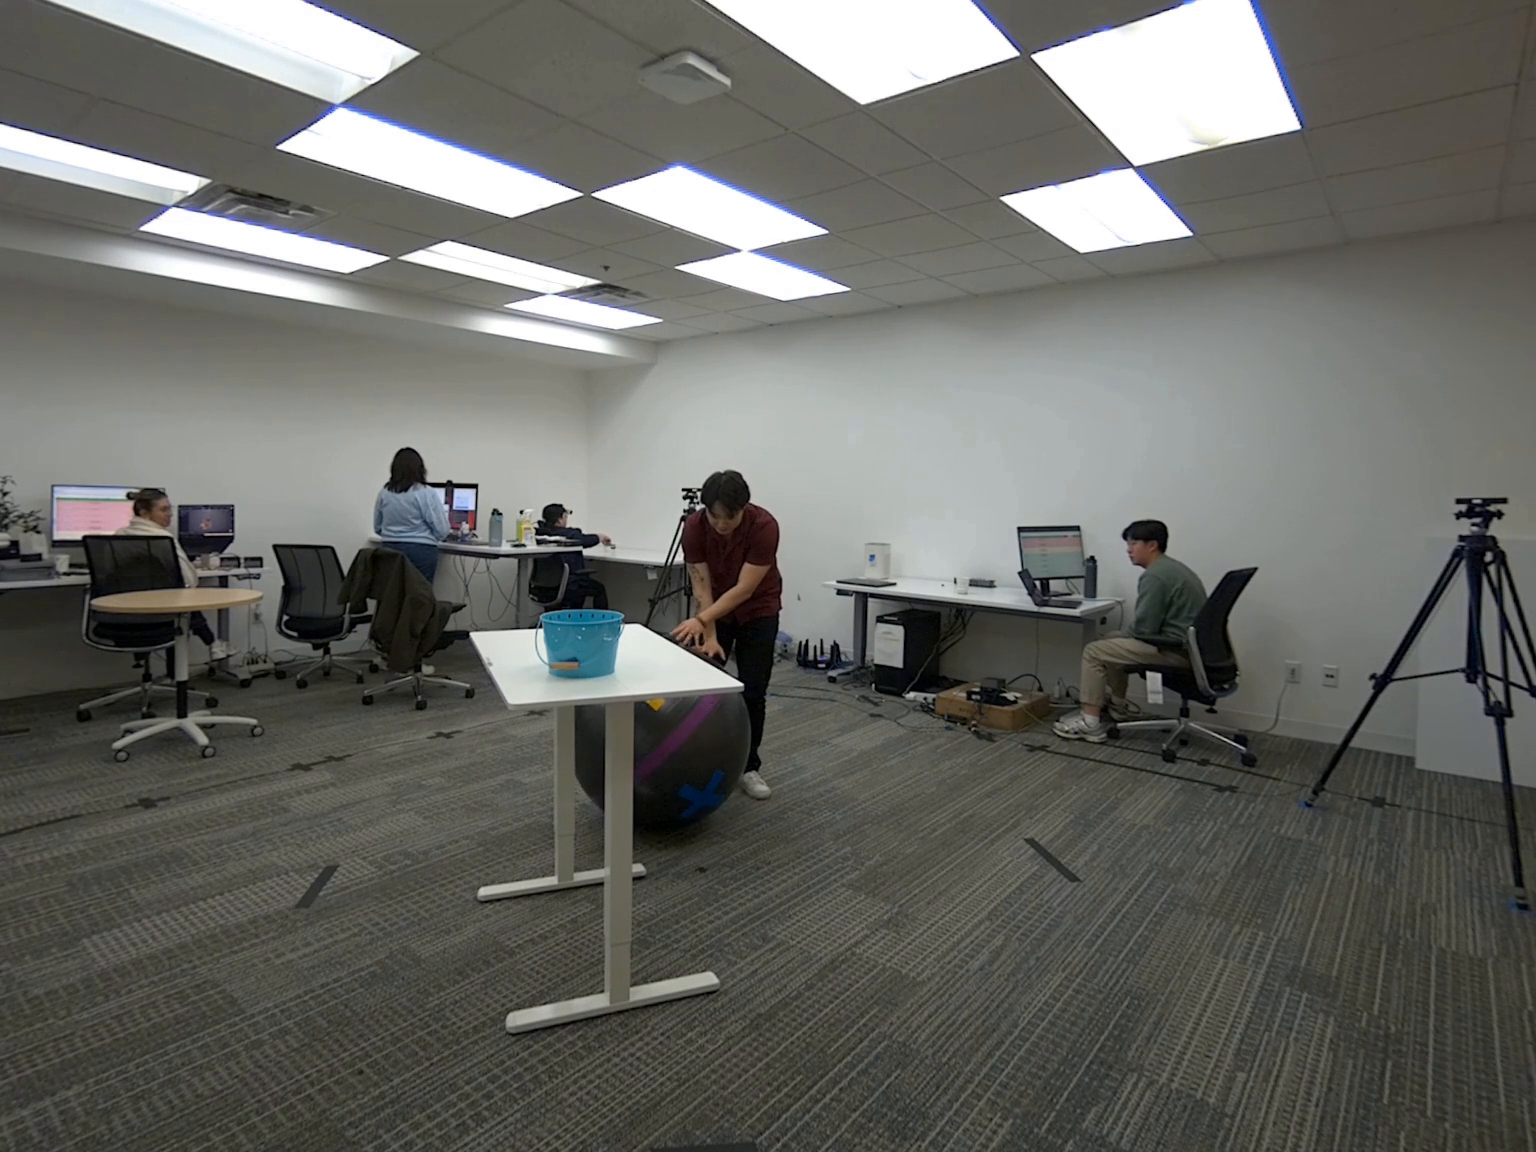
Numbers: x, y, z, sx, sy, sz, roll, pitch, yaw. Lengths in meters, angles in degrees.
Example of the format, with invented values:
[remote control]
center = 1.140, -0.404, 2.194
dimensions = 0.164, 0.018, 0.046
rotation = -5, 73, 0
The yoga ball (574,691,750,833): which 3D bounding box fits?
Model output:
[yoga ball]
center = -0.463, 0.660, 3.534
dimensions = 0.757, 0.756, 0.762
rotation = 1, 4, -2
